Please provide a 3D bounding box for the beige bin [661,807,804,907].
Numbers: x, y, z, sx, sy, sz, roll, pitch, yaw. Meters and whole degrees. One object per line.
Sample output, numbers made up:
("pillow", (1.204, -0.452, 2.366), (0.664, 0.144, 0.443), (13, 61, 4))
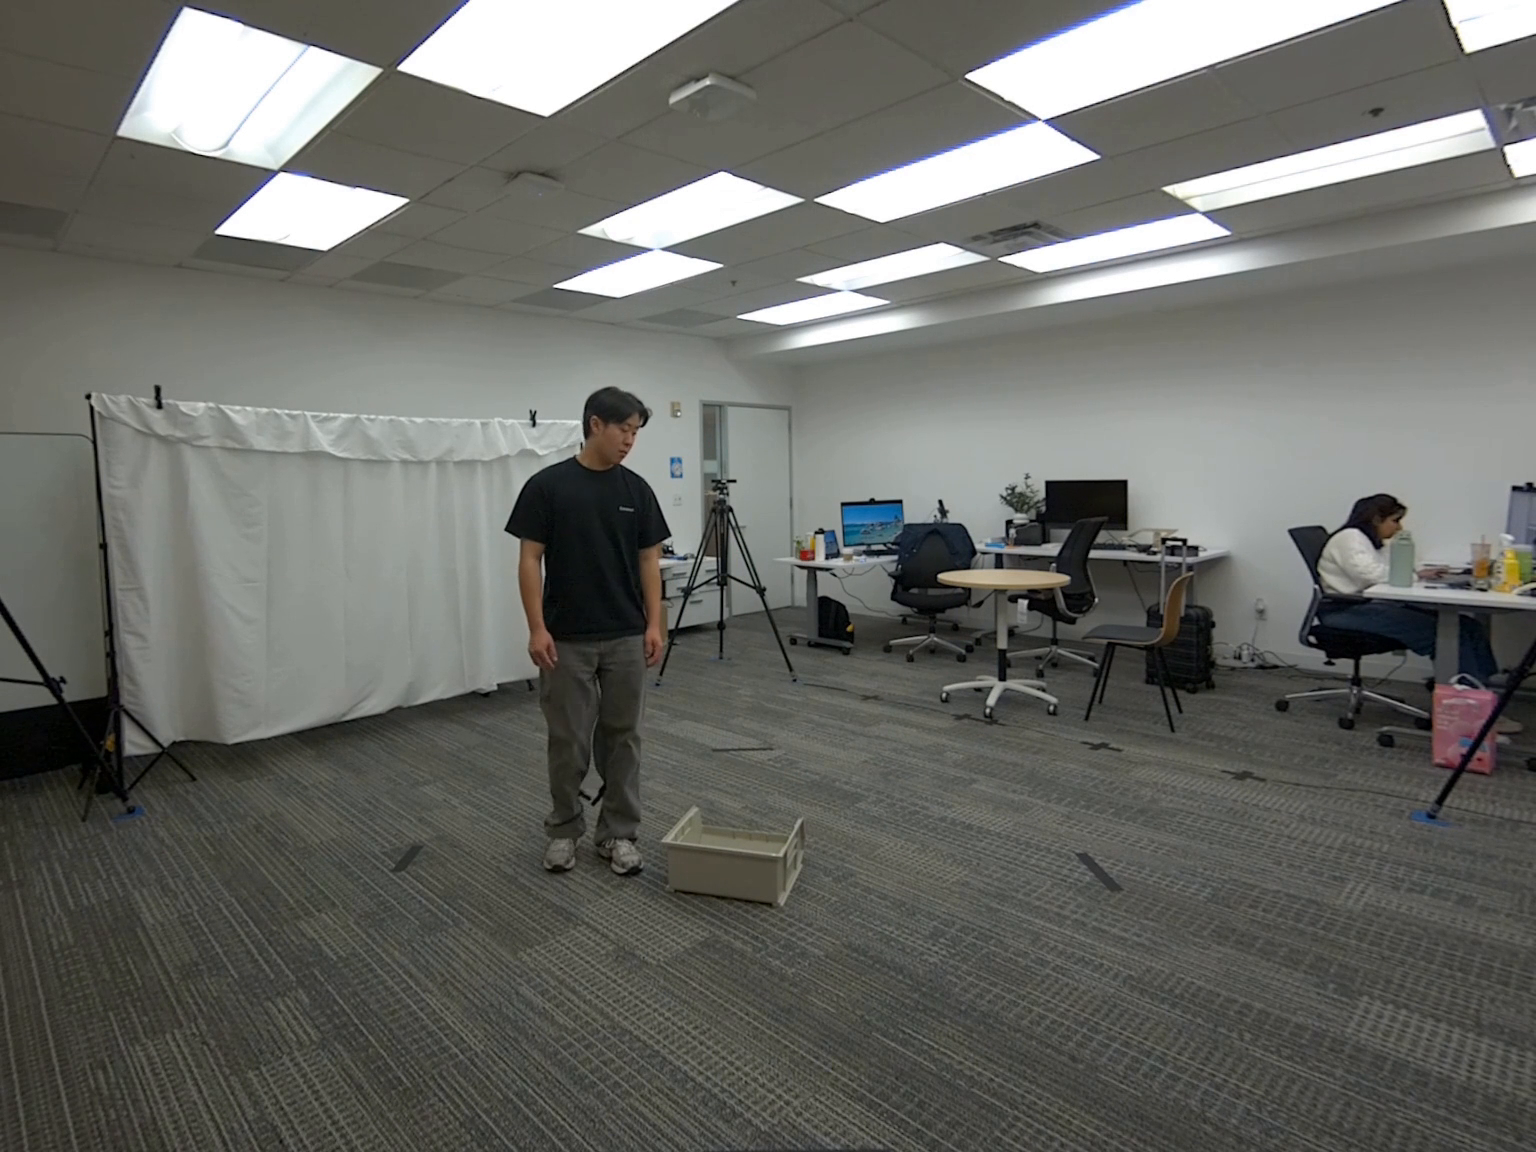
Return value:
("beige bin", (-0.108, 0.970, 3.008), (0.429, 0.188, 0.373), (0, 7, 16))
